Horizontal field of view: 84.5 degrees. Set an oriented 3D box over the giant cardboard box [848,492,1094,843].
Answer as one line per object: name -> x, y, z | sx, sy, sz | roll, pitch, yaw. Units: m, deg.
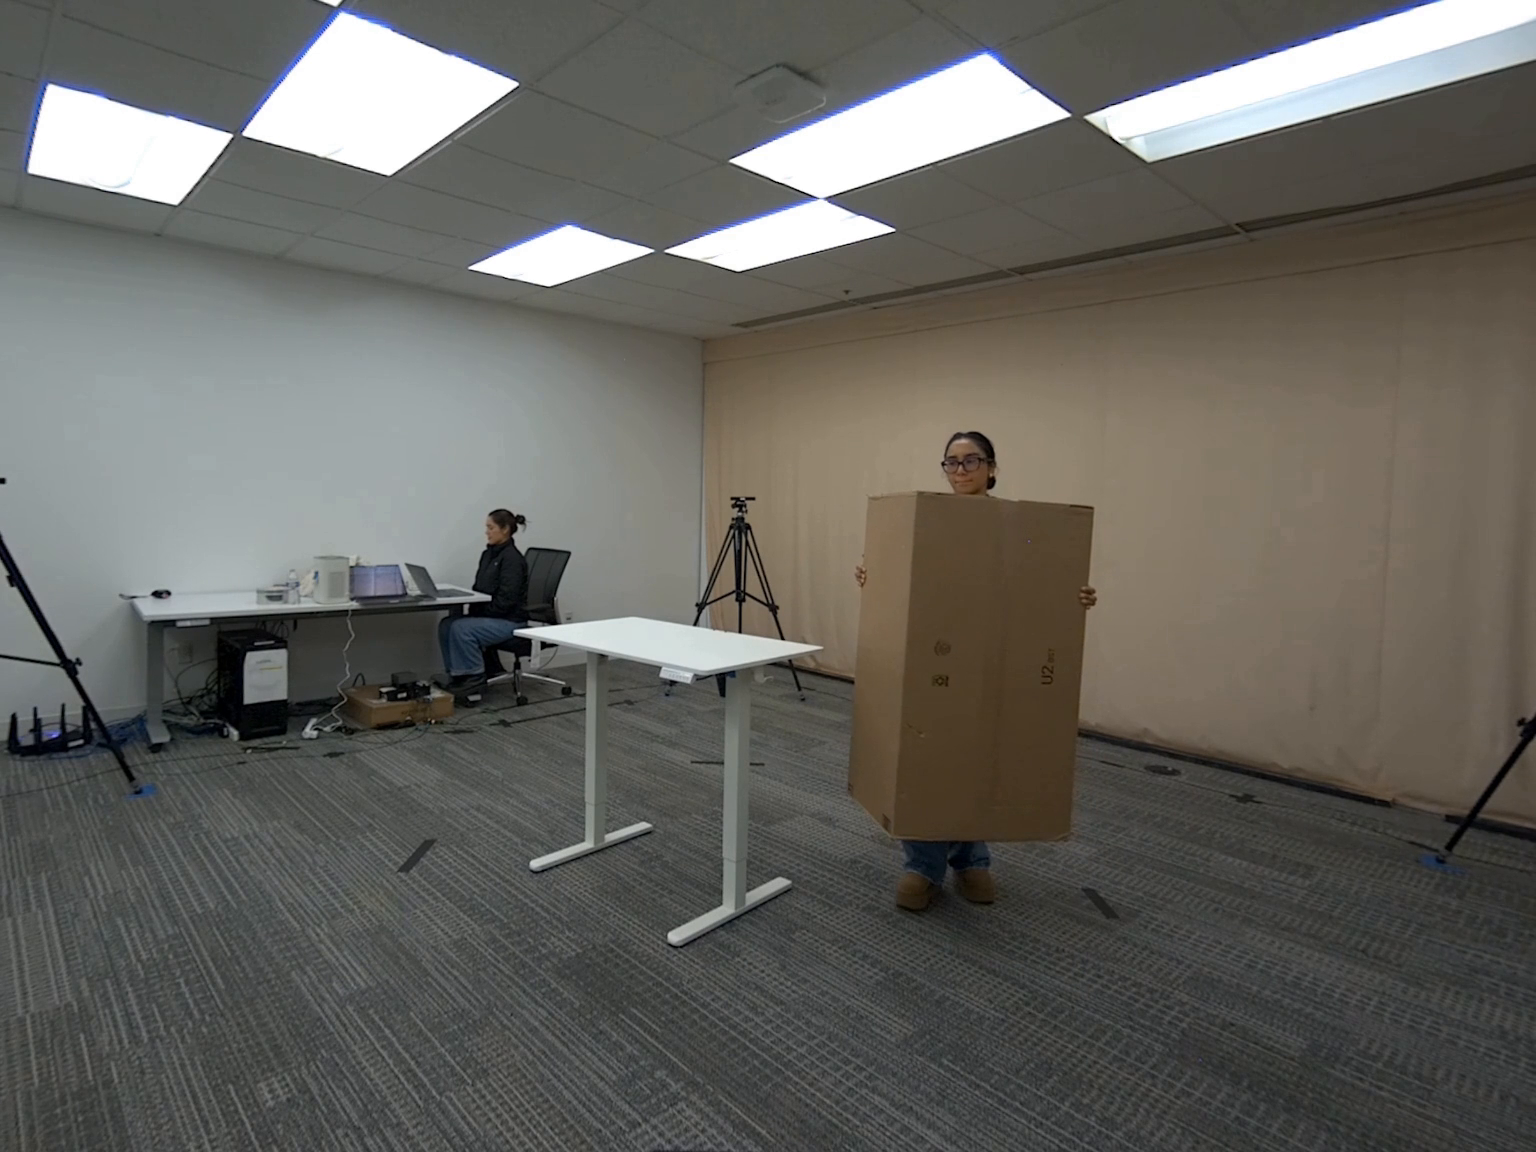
giant cardboard box -> 0.619, 0.268, 2.686 | 0.572, 1.025, 0.430 | 4, 1, -11
